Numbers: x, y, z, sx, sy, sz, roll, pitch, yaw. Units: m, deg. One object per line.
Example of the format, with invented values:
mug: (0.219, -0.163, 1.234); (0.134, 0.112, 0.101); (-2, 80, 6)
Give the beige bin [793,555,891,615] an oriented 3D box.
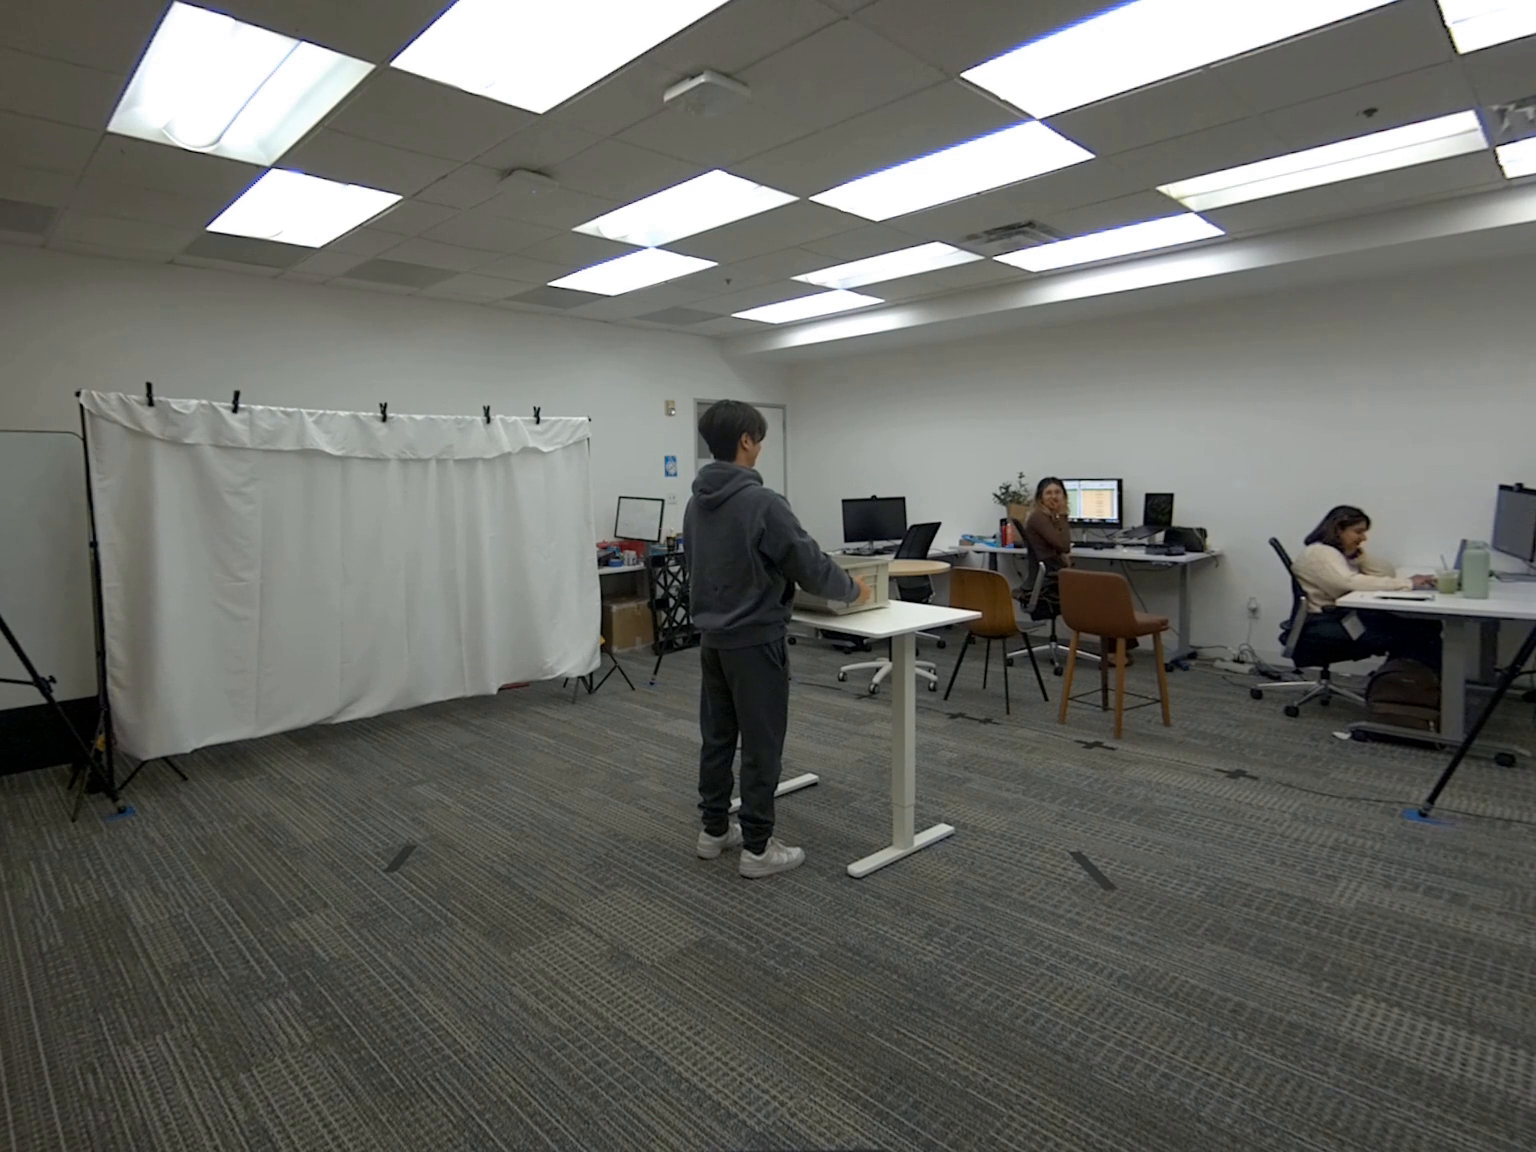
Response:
beige bin: (0.225, 0.028, 3.387); (0.367, 0.188, 0.435); (-5, 7, -42)
